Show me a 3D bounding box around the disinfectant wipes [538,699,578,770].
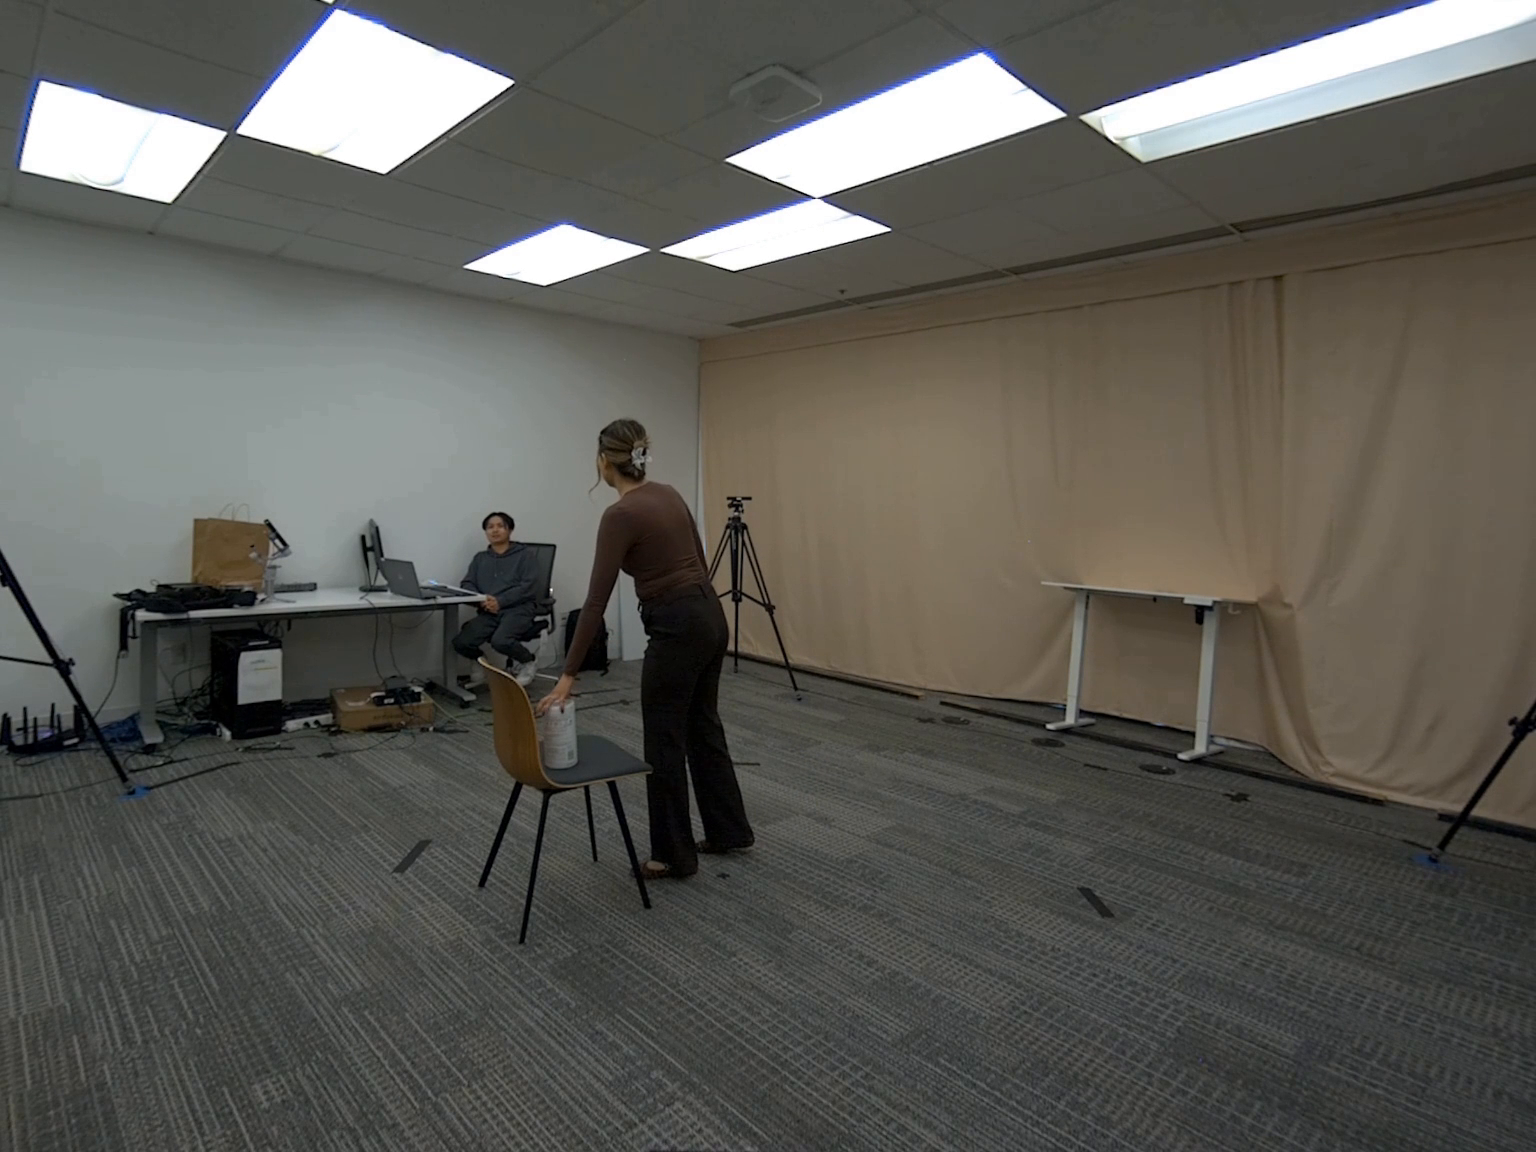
[{"bbox_3d":[-0.716,0.542,2.853,0.118,0.216,0.118,-3,5,-1],"label":"disinfectant wipes"}]
